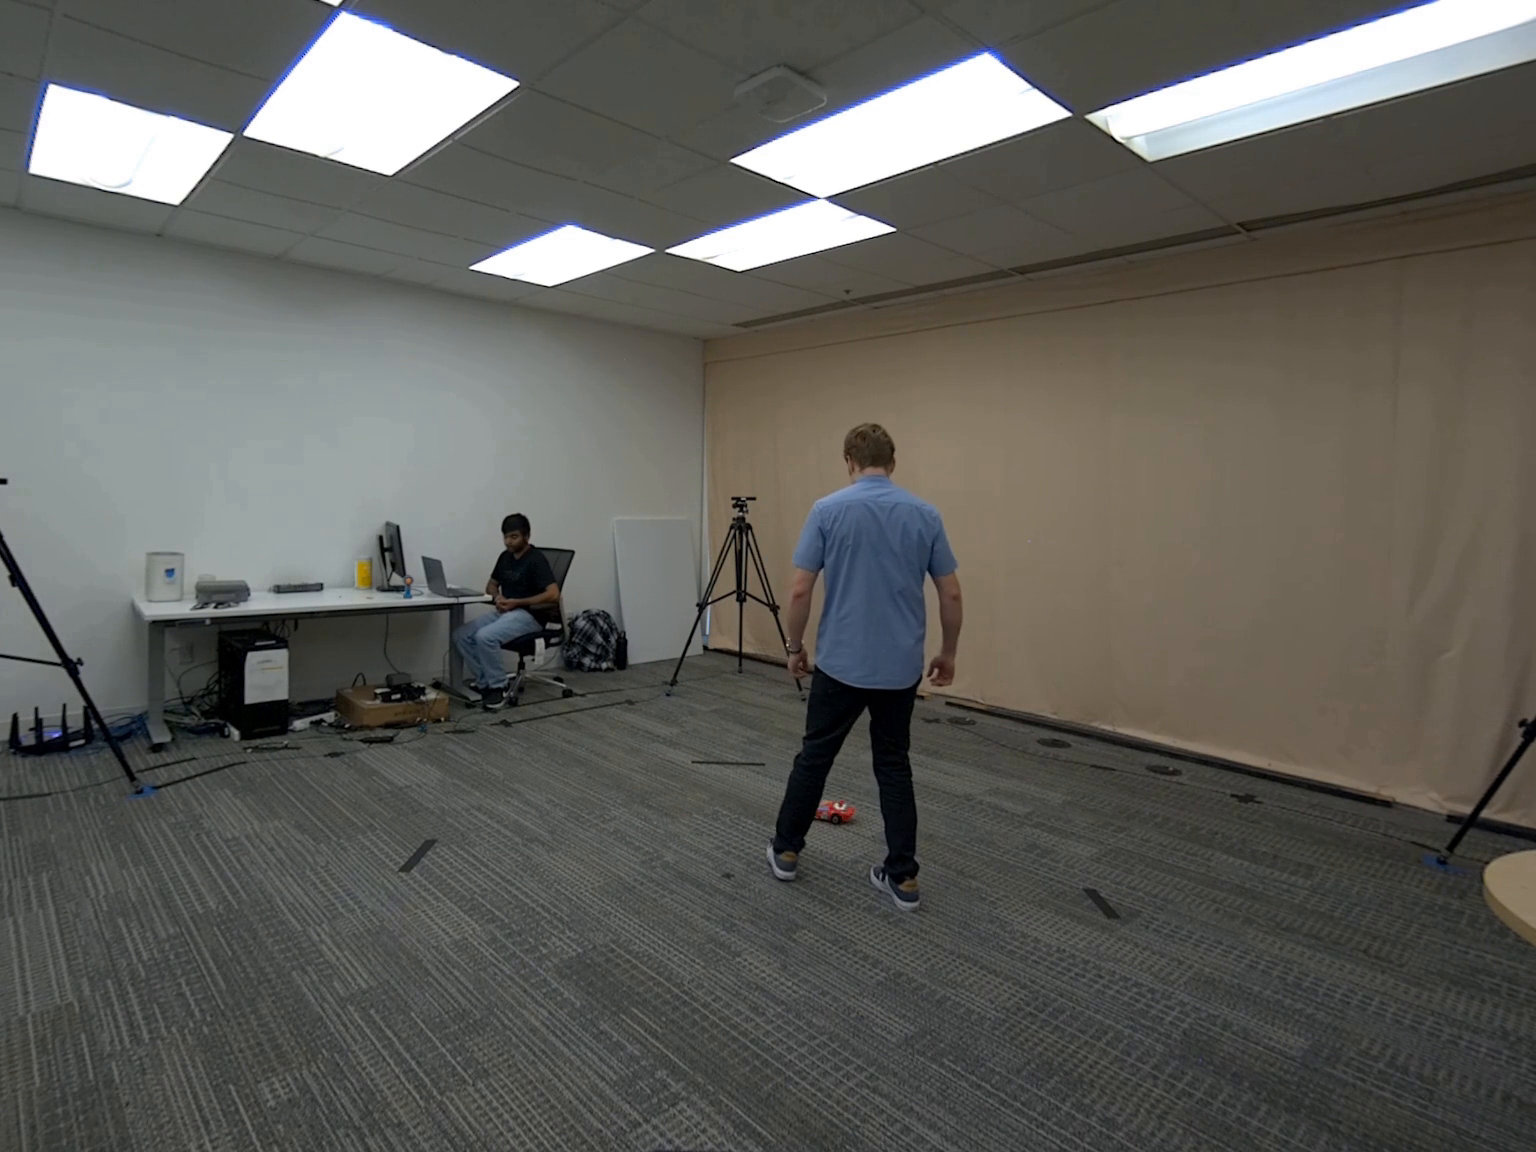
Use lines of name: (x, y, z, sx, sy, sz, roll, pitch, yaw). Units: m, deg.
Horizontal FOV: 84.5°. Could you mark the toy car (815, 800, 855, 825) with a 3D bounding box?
toy car: (0.255, 1.037, 3.695, 0.257, 0.083, 0.129, -9, 1, 18)
